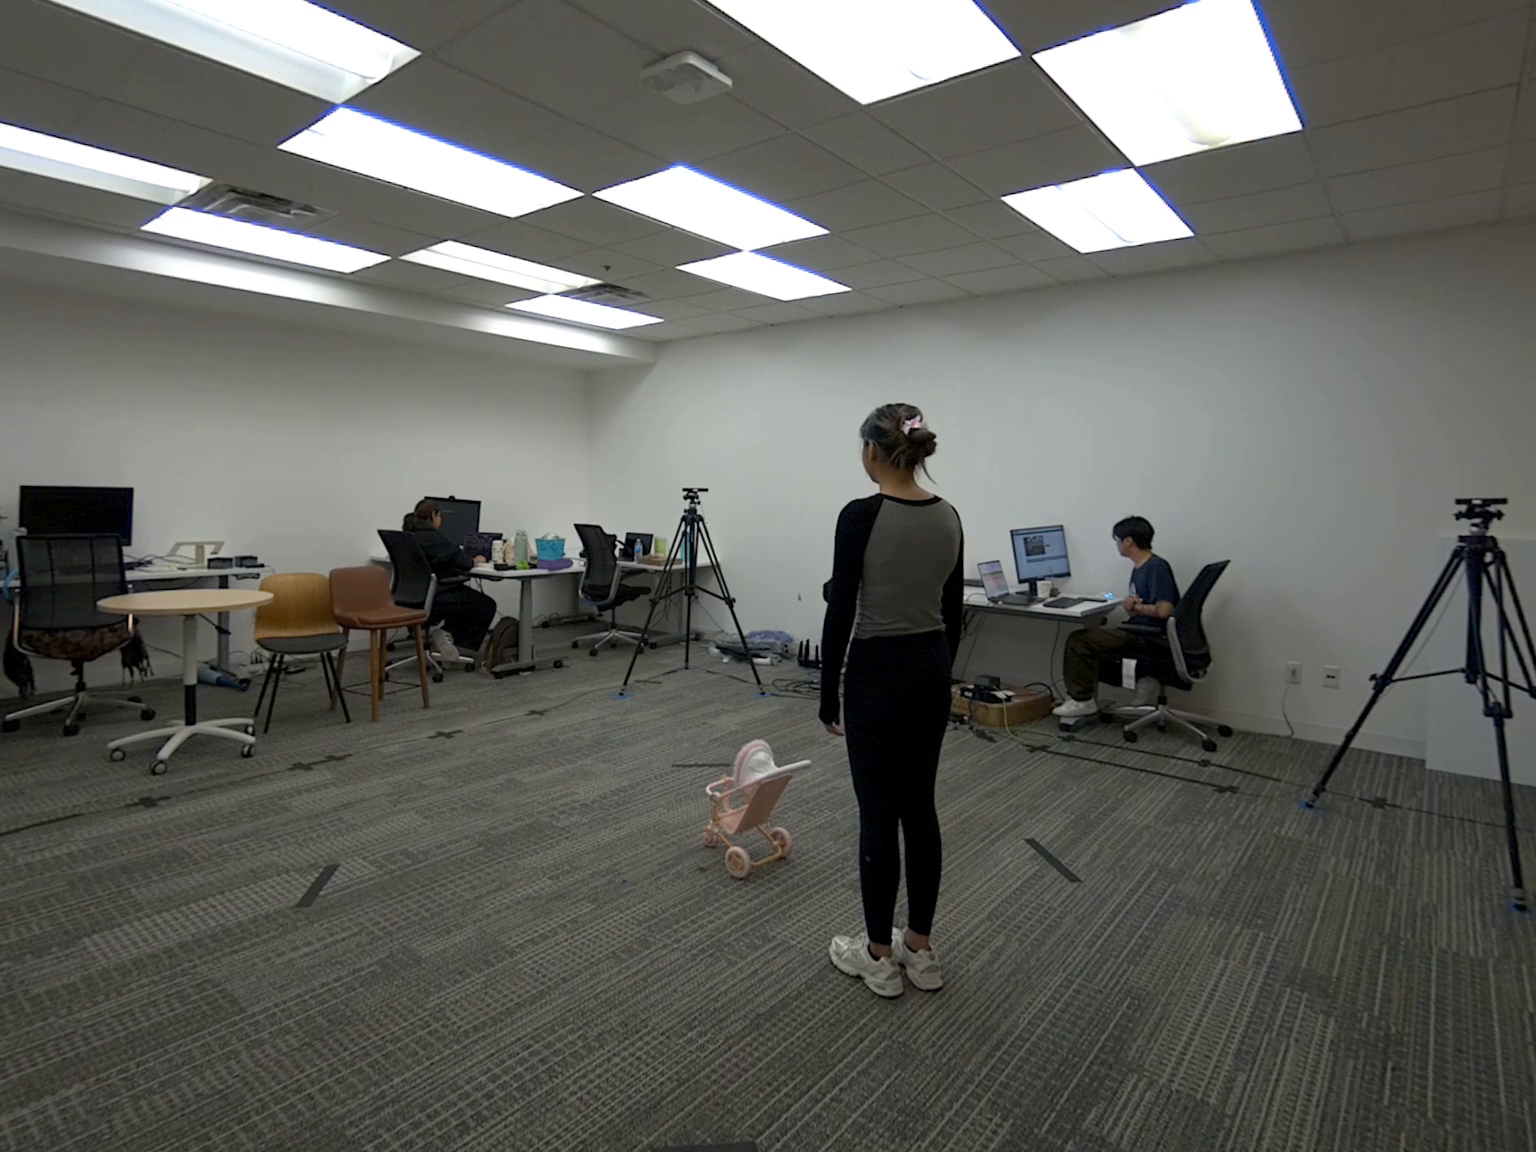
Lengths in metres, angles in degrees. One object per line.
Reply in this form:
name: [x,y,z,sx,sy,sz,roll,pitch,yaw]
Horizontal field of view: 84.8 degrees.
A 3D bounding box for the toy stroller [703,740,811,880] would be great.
toy stroller: [-0.080,0.843,3.176,0.273,0.529,0.356,-1,21,-45]
